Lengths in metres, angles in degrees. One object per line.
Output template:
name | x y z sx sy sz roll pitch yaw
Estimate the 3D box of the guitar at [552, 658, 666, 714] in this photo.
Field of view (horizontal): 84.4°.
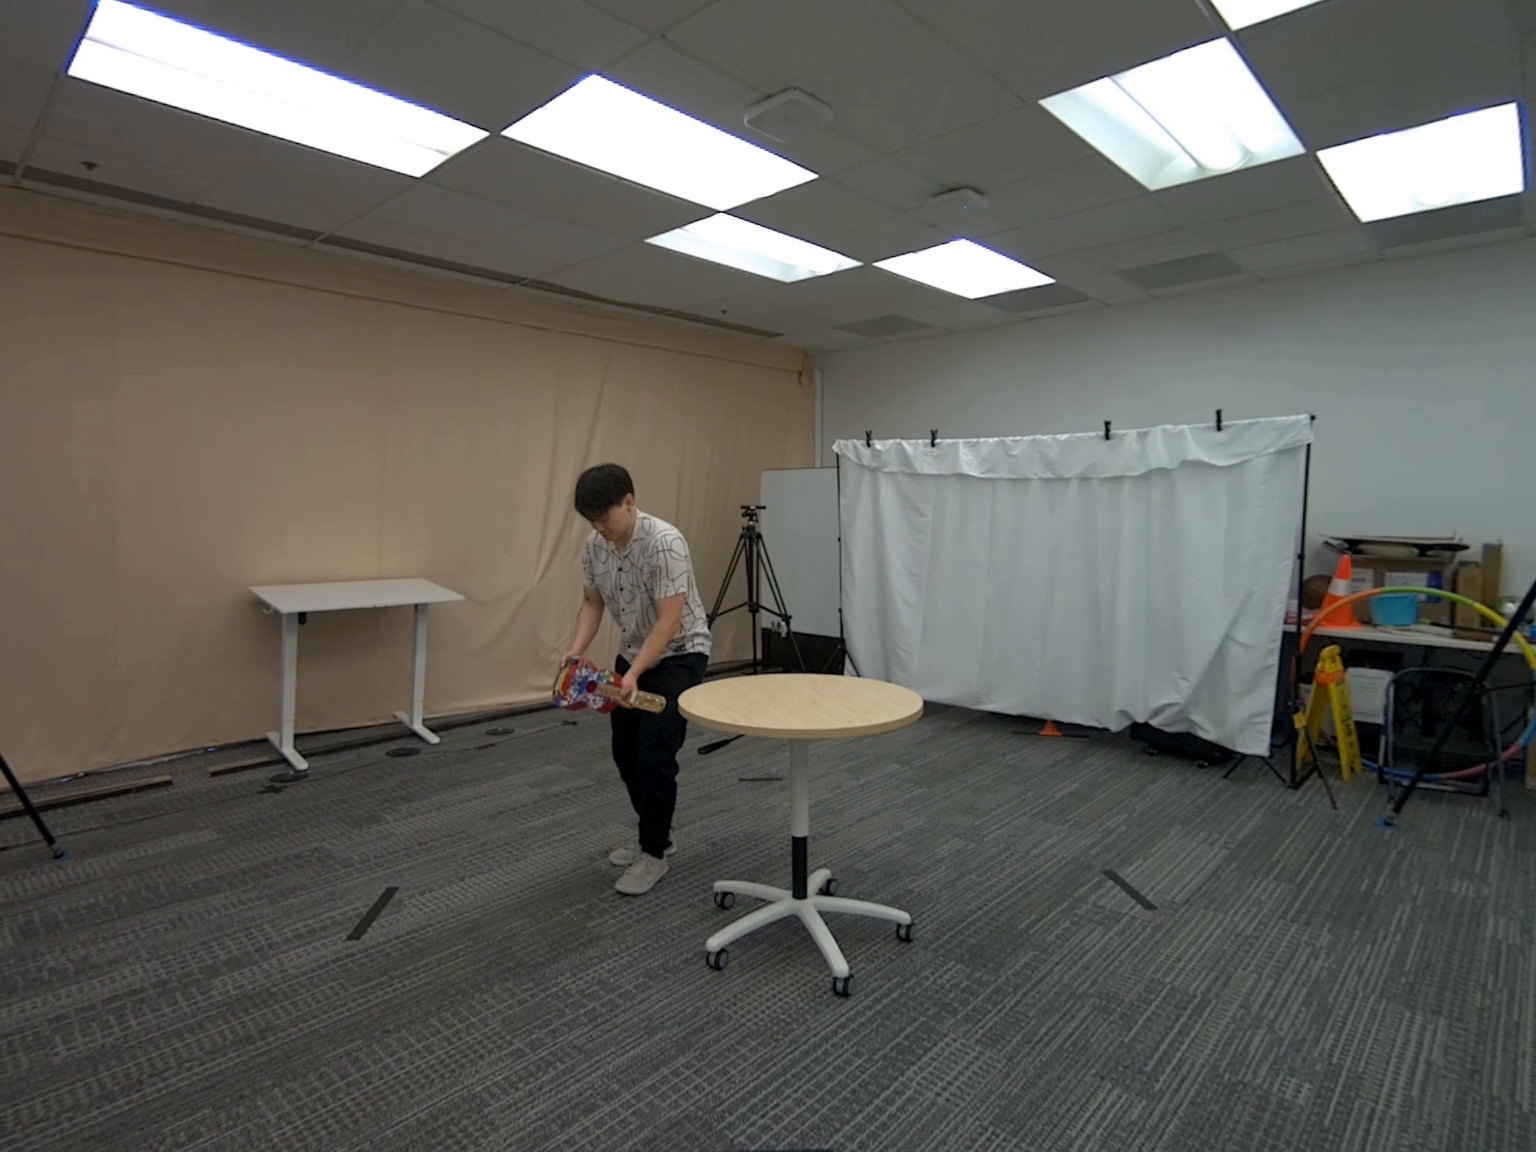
guitar | -0.571 0.435 2.943 0.516 0.193 0.068 20 -10 40
